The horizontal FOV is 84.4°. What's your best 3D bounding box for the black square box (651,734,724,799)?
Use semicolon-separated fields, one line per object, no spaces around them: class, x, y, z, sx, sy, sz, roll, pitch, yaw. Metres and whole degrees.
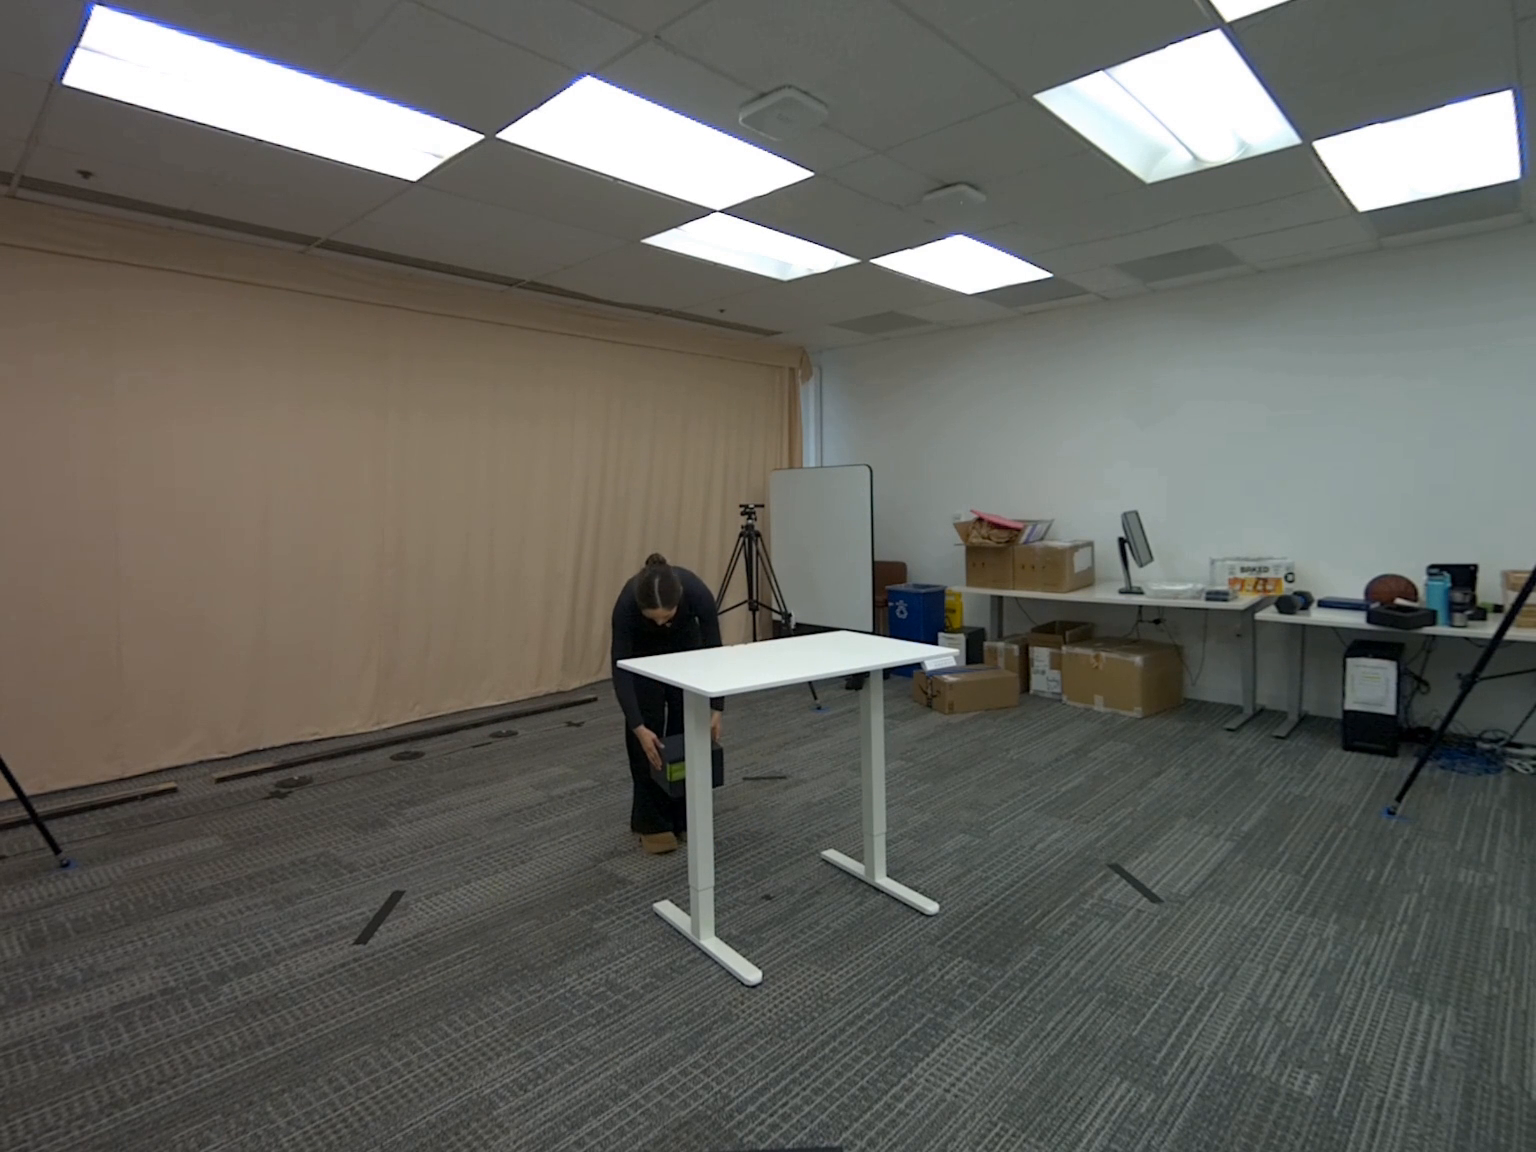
black square box;-0.319;0.736;3.328;0.222;0.155;0.224;-7;13;-27
